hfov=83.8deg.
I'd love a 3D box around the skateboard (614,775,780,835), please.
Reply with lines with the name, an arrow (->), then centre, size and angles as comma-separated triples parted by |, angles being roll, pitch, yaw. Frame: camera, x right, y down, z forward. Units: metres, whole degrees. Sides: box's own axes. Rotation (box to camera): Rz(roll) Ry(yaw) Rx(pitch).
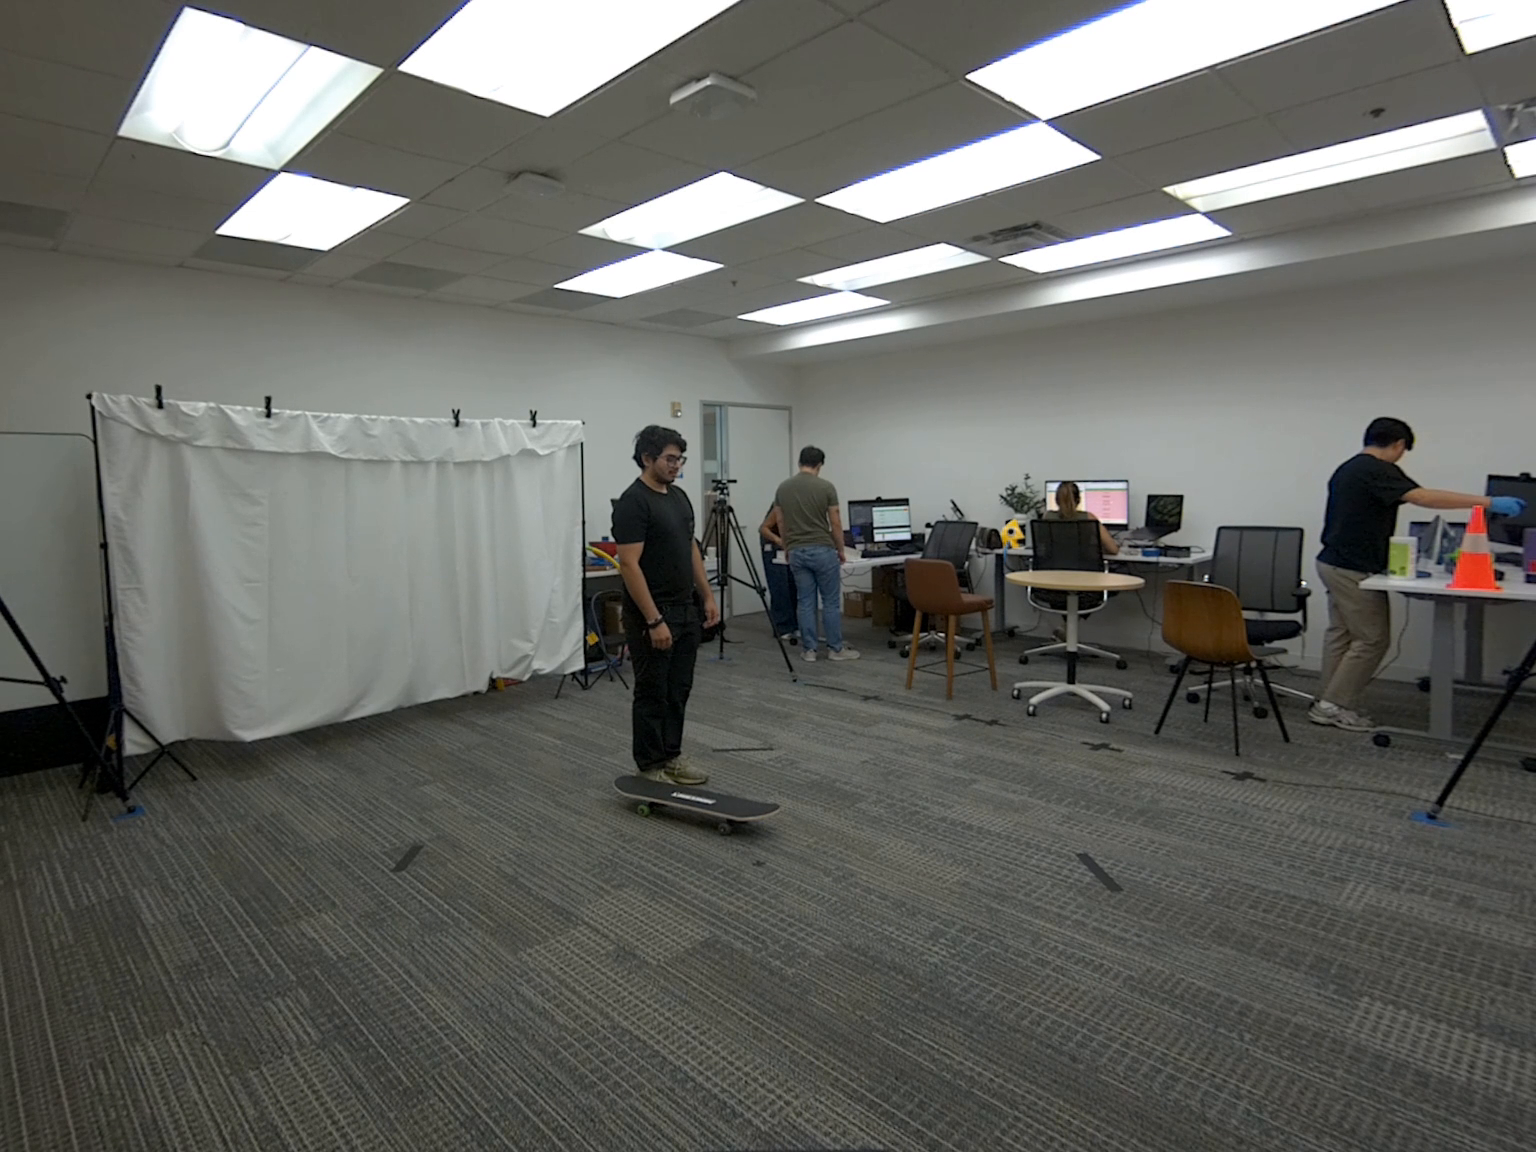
skateboard -> -0.301, 0.949, 3.532 | 0.806, 0.110, 0.189 | 2, 6, 30
